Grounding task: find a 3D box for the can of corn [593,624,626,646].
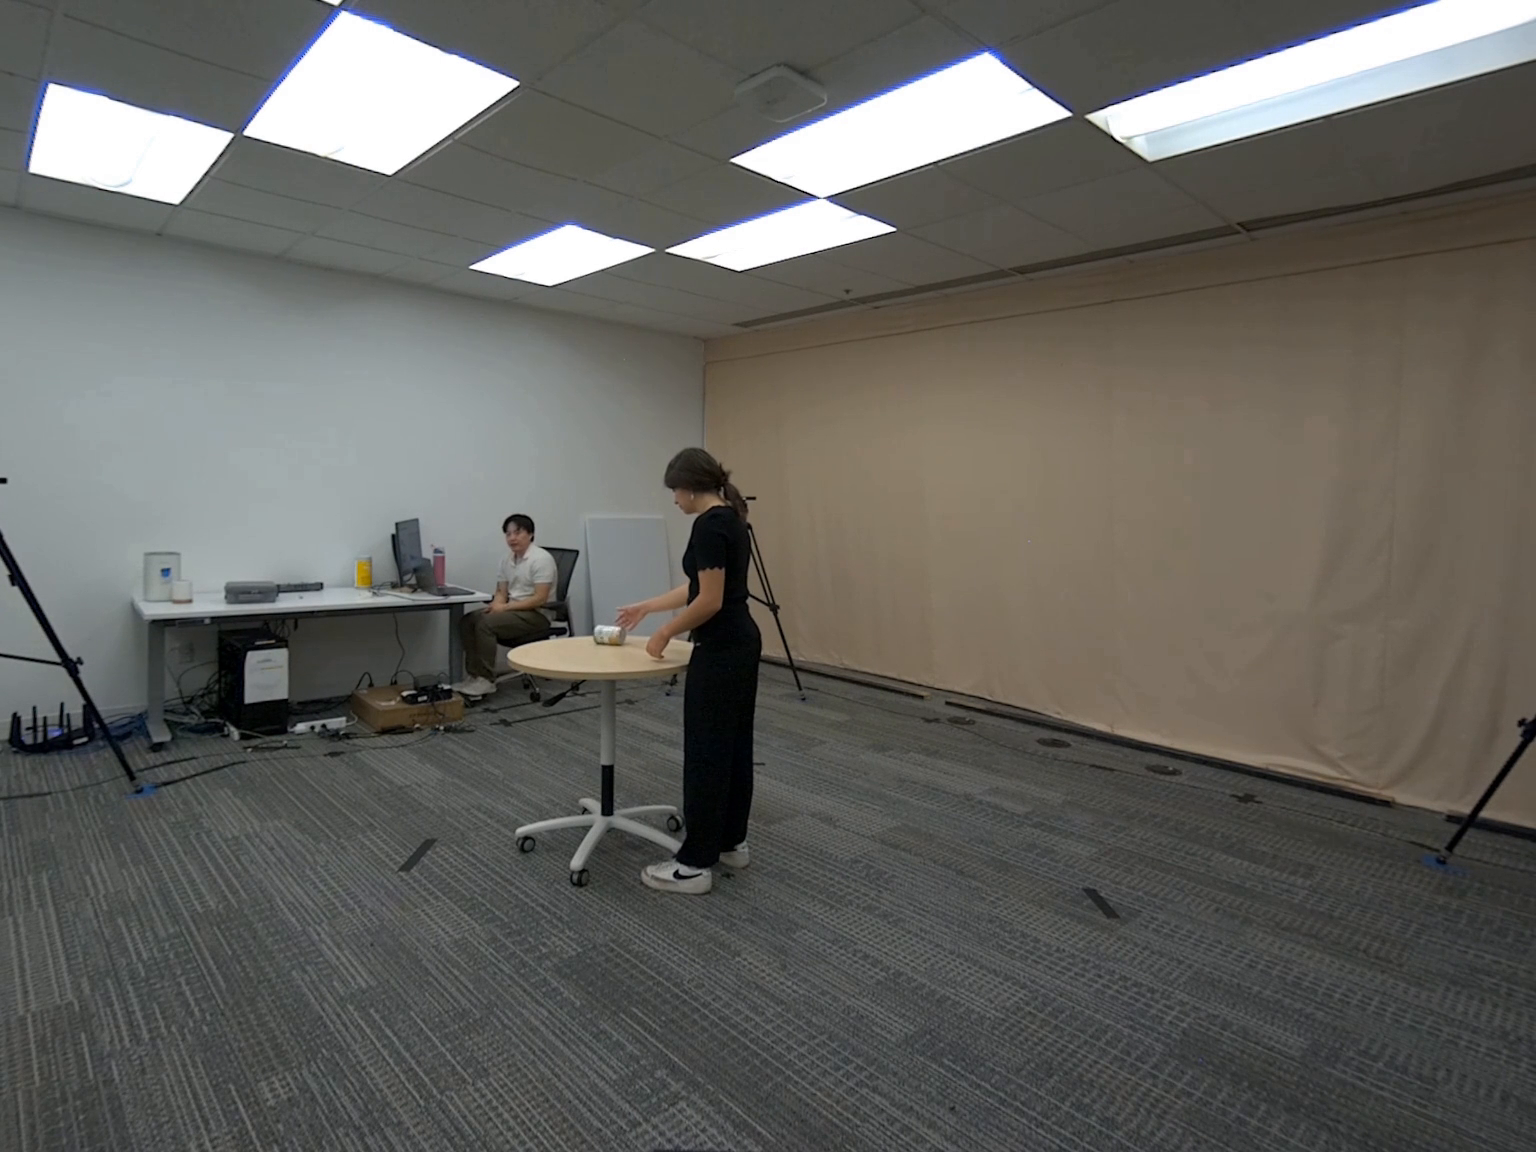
[{"bbox_3d":[-0.664,0.239,3.439,0.113,0.074,0.073,4,5,19],"label":"can of corn"}]
